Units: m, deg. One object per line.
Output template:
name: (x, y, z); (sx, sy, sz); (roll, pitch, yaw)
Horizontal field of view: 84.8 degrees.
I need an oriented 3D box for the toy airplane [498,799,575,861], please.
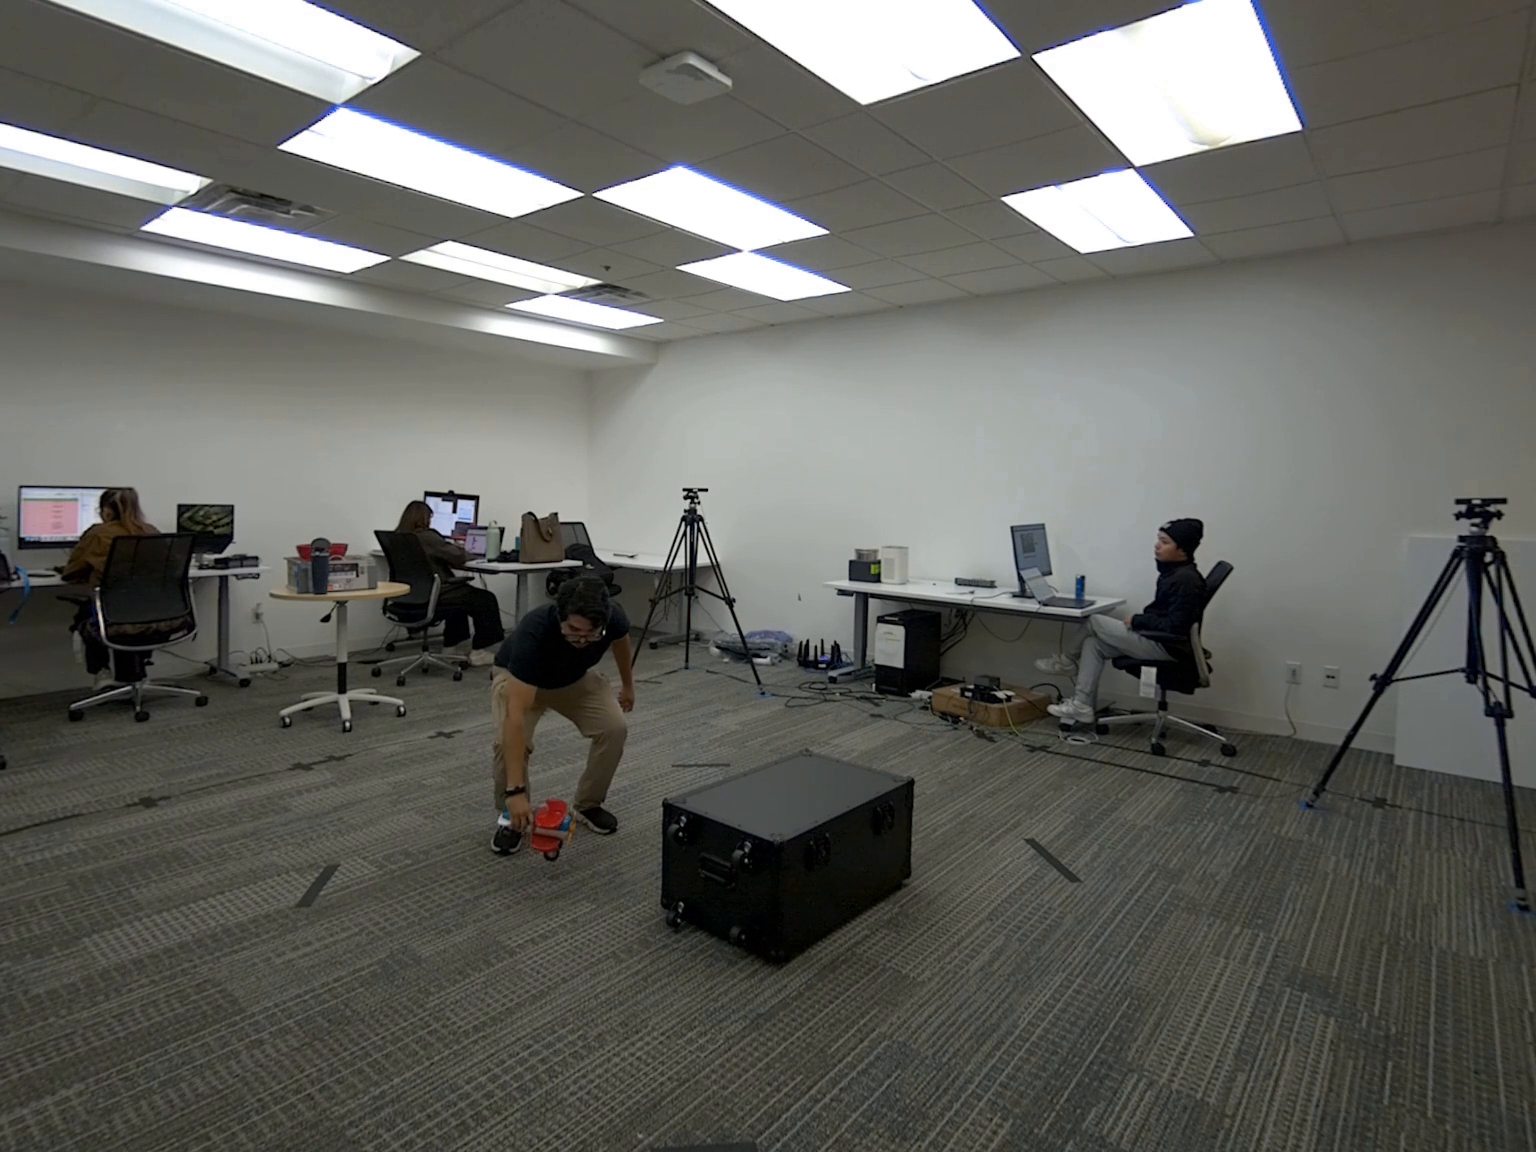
toy airplane: (-0.817, 0.872, 2.958); (0.250, 0.156, 0.260); (23, 2, -33)
